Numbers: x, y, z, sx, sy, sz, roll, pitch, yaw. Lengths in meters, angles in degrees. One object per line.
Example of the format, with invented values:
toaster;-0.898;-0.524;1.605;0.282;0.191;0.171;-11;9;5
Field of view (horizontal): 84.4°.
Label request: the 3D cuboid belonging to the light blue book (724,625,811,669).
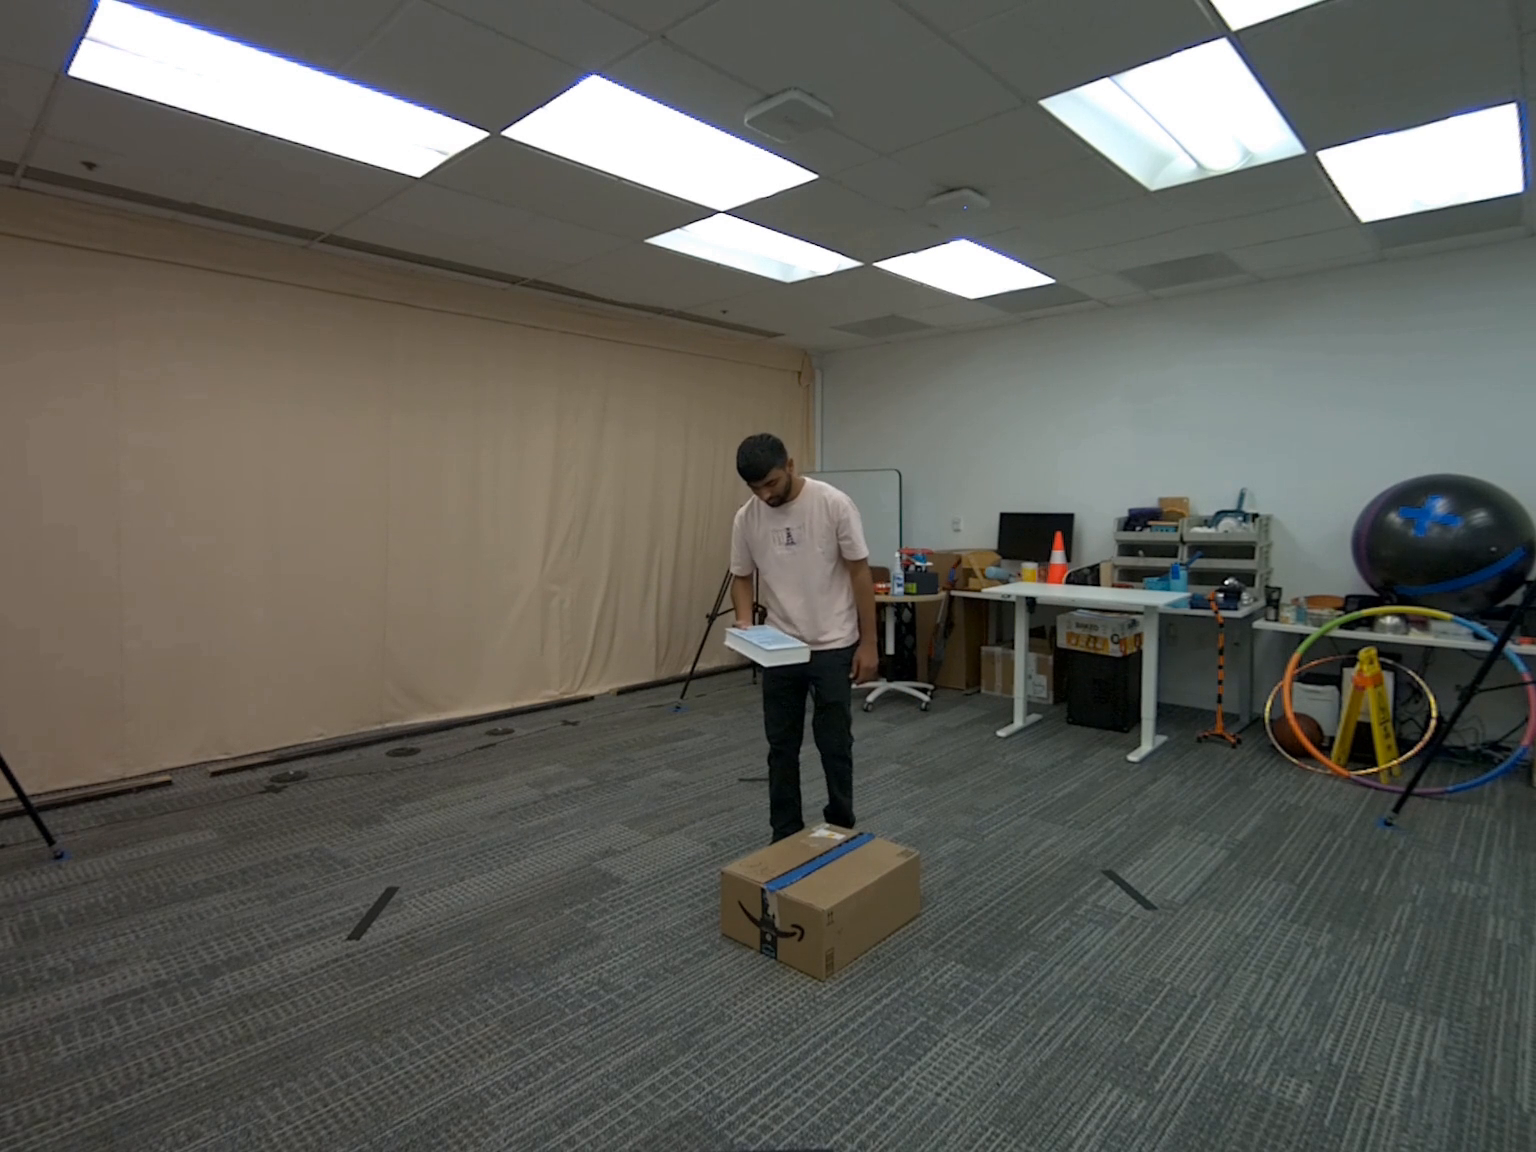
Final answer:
light blue book;0.007;0.249;2.940;0.187;0.059;0.269;0;12;-26
